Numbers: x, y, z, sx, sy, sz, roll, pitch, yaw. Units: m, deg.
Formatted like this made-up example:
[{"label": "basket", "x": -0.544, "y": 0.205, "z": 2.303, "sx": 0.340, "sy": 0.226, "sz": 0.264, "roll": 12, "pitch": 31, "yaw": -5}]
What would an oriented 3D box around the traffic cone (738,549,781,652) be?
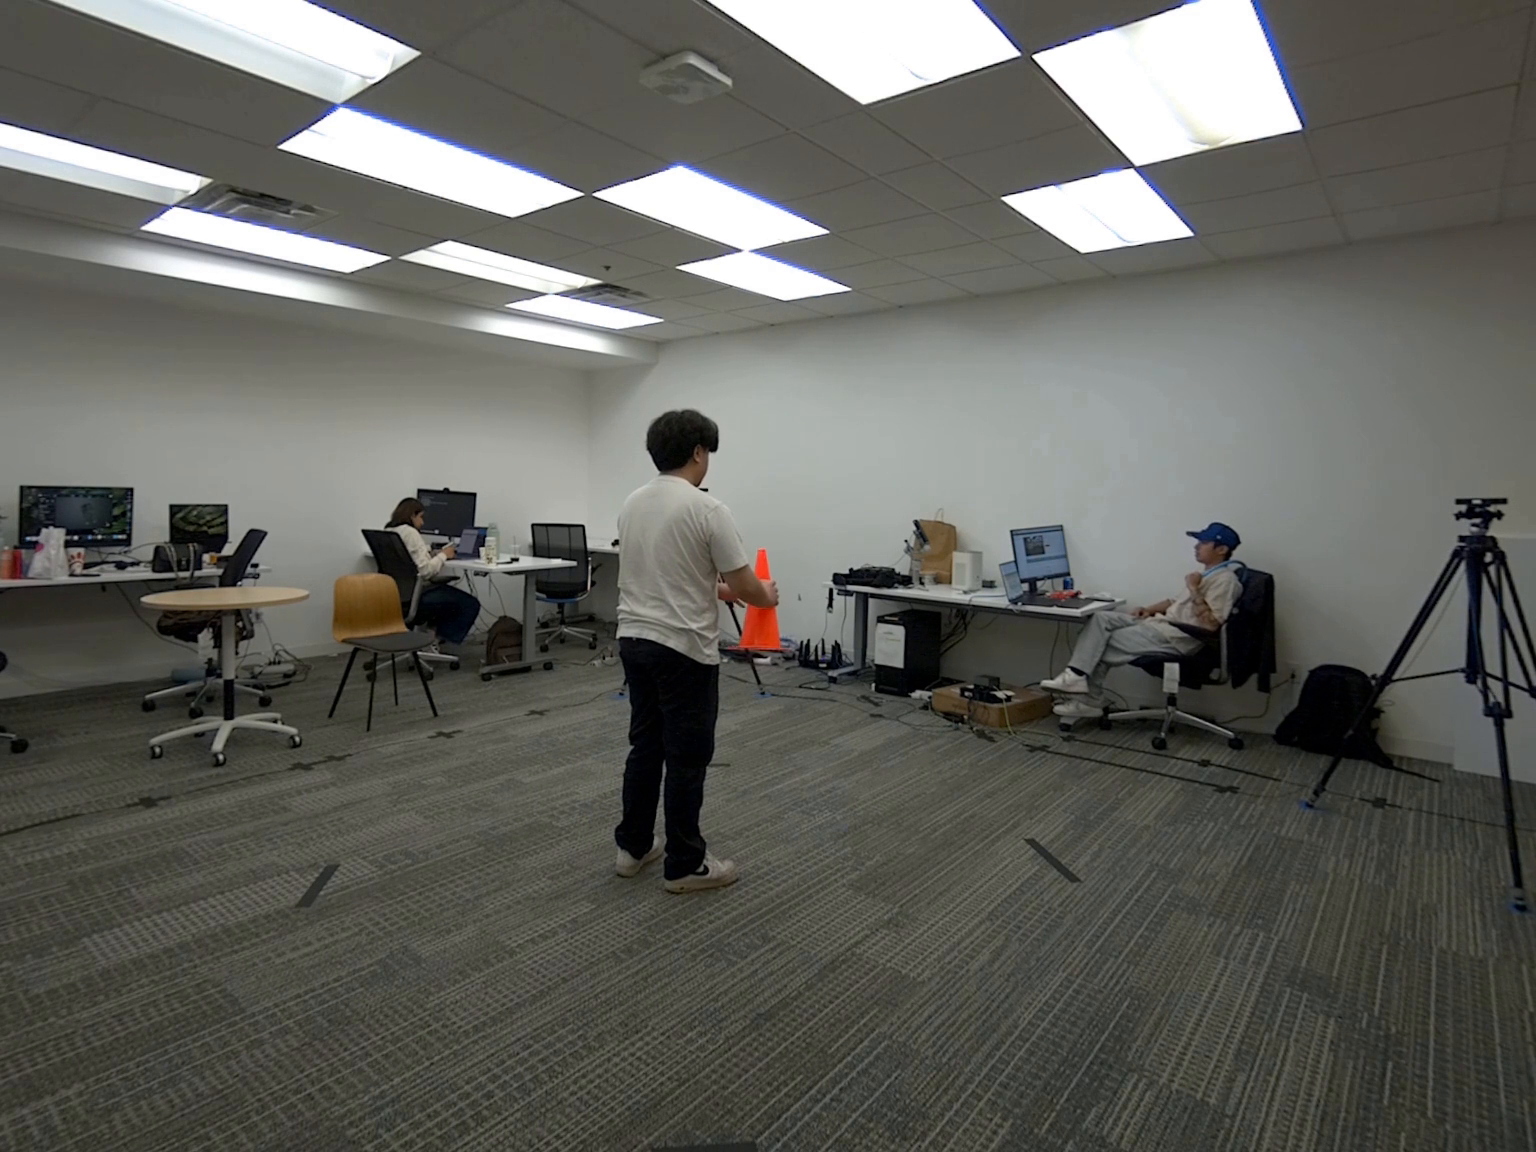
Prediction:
[{"label": "traffic cone", "x": -0.032, "y": 0.089, "z": 3.262, "sx": 0.196, "sy": 0.386, "sz": 0.211, "roll": 7, "pitch": -8, "yaw": -42}]
